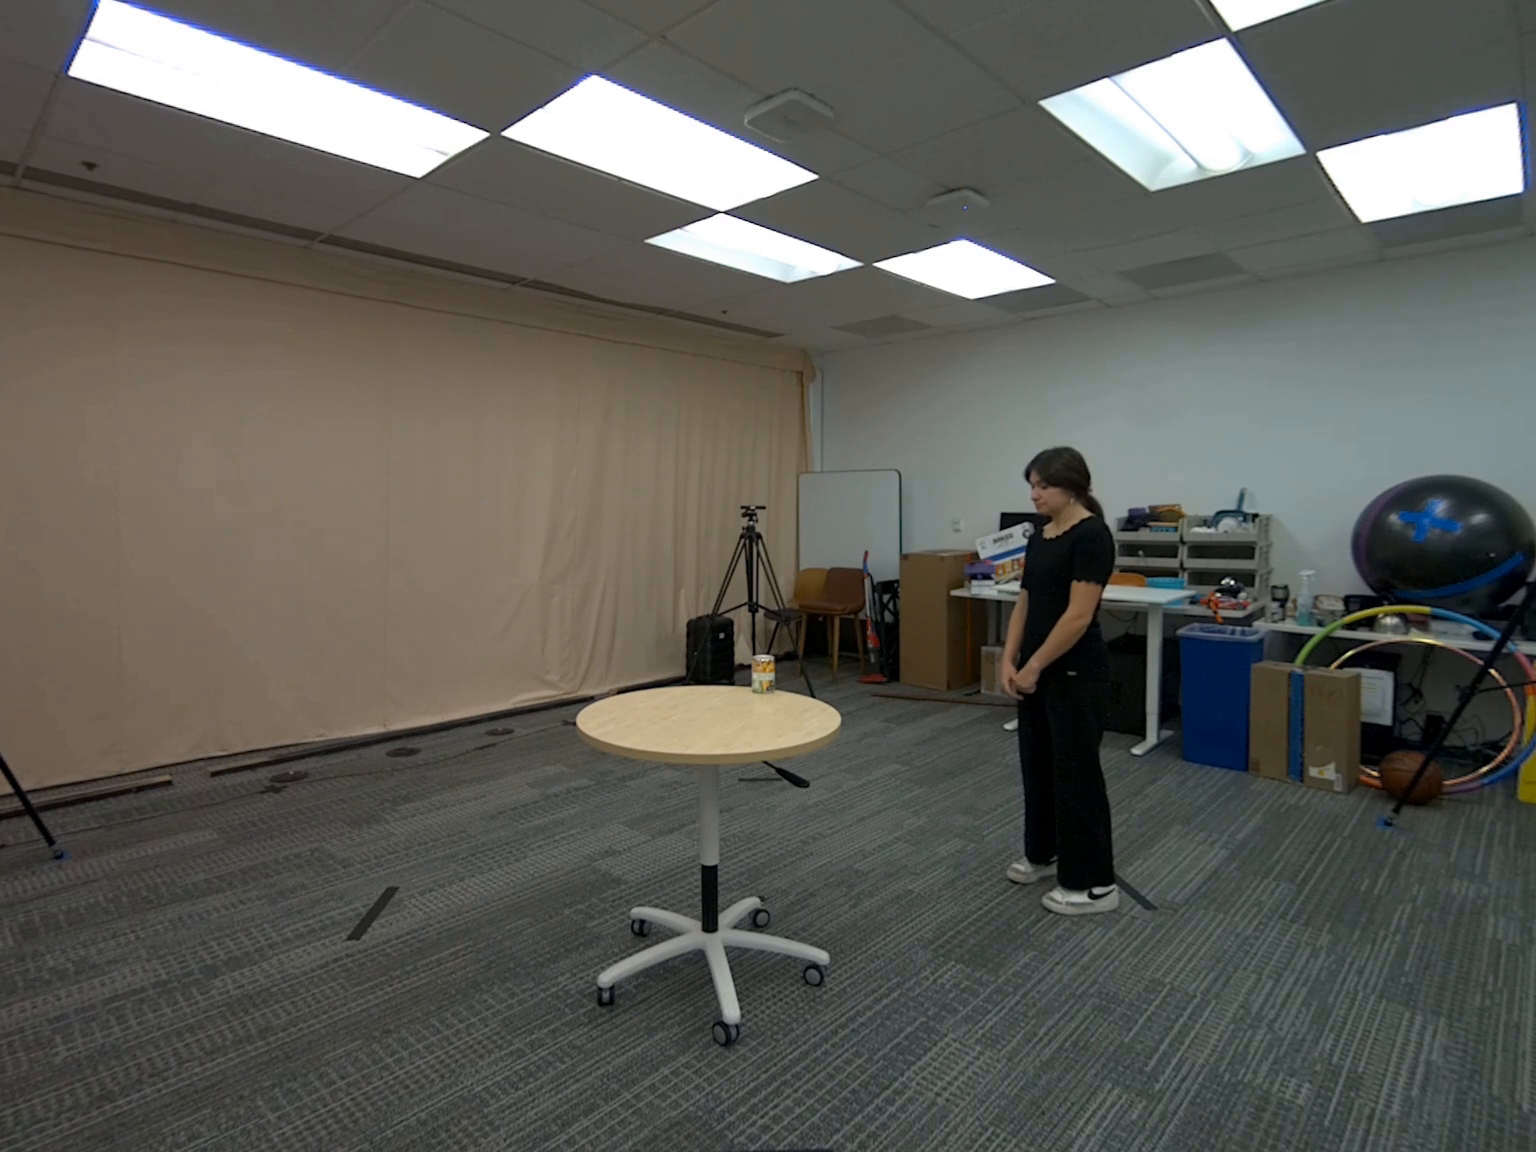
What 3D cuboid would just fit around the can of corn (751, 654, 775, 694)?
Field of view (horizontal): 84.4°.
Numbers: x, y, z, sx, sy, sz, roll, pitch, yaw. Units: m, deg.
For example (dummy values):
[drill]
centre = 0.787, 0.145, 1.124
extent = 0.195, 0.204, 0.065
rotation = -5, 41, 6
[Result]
[can of corn]
centre = -0.008, 0.324, 2.746
extent = 0.074, 0.111, 0.074
rotation = 0, 3, -2
